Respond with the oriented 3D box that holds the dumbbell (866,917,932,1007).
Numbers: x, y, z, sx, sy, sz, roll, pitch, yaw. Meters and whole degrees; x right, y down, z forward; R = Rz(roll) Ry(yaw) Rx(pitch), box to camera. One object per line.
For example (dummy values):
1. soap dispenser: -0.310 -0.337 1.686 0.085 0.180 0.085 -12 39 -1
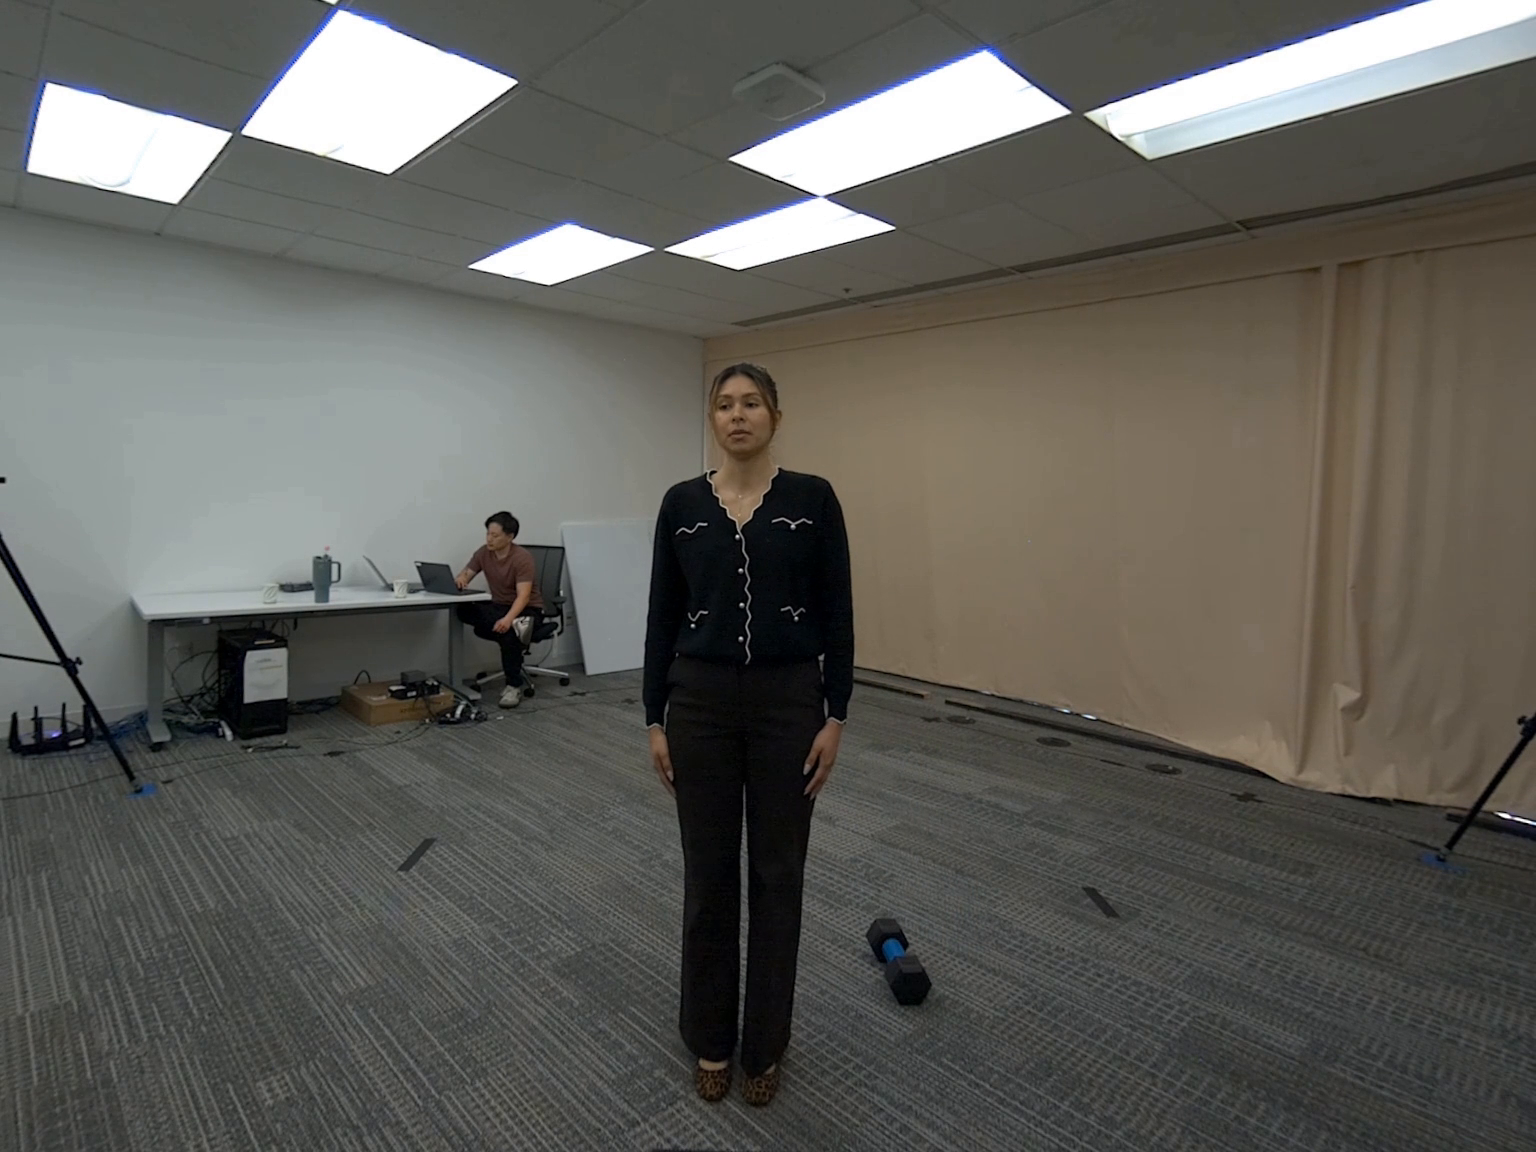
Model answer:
1. dumbbell: 0.370 1.122 2.461 0.108 0.123 0.296 29 1 -9
